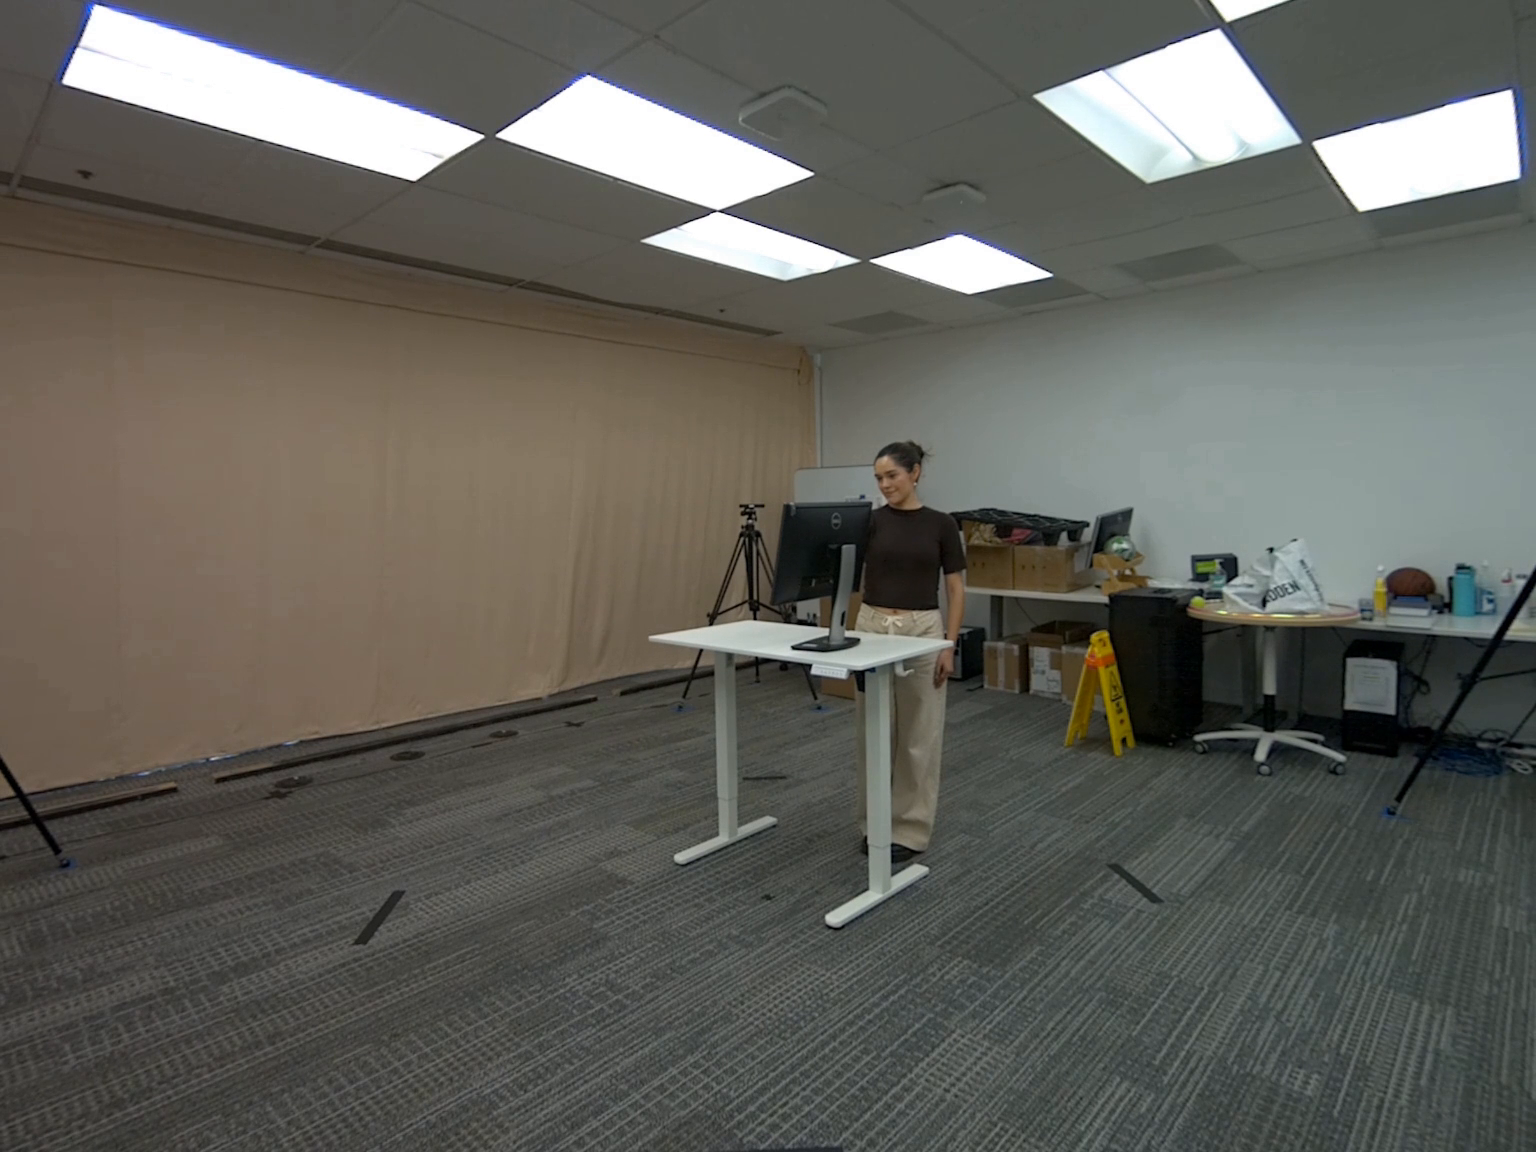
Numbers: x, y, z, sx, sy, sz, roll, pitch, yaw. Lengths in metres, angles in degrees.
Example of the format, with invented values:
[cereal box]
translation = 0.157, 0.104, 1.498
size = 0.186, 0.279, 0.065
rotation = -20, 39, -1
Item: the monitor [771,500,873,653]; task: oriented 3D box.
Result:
[monitor]
translation = 0.223, 0.000, 2.989
size = 0.193, 0.521, 0.523
rotation = 1, 5, 39
